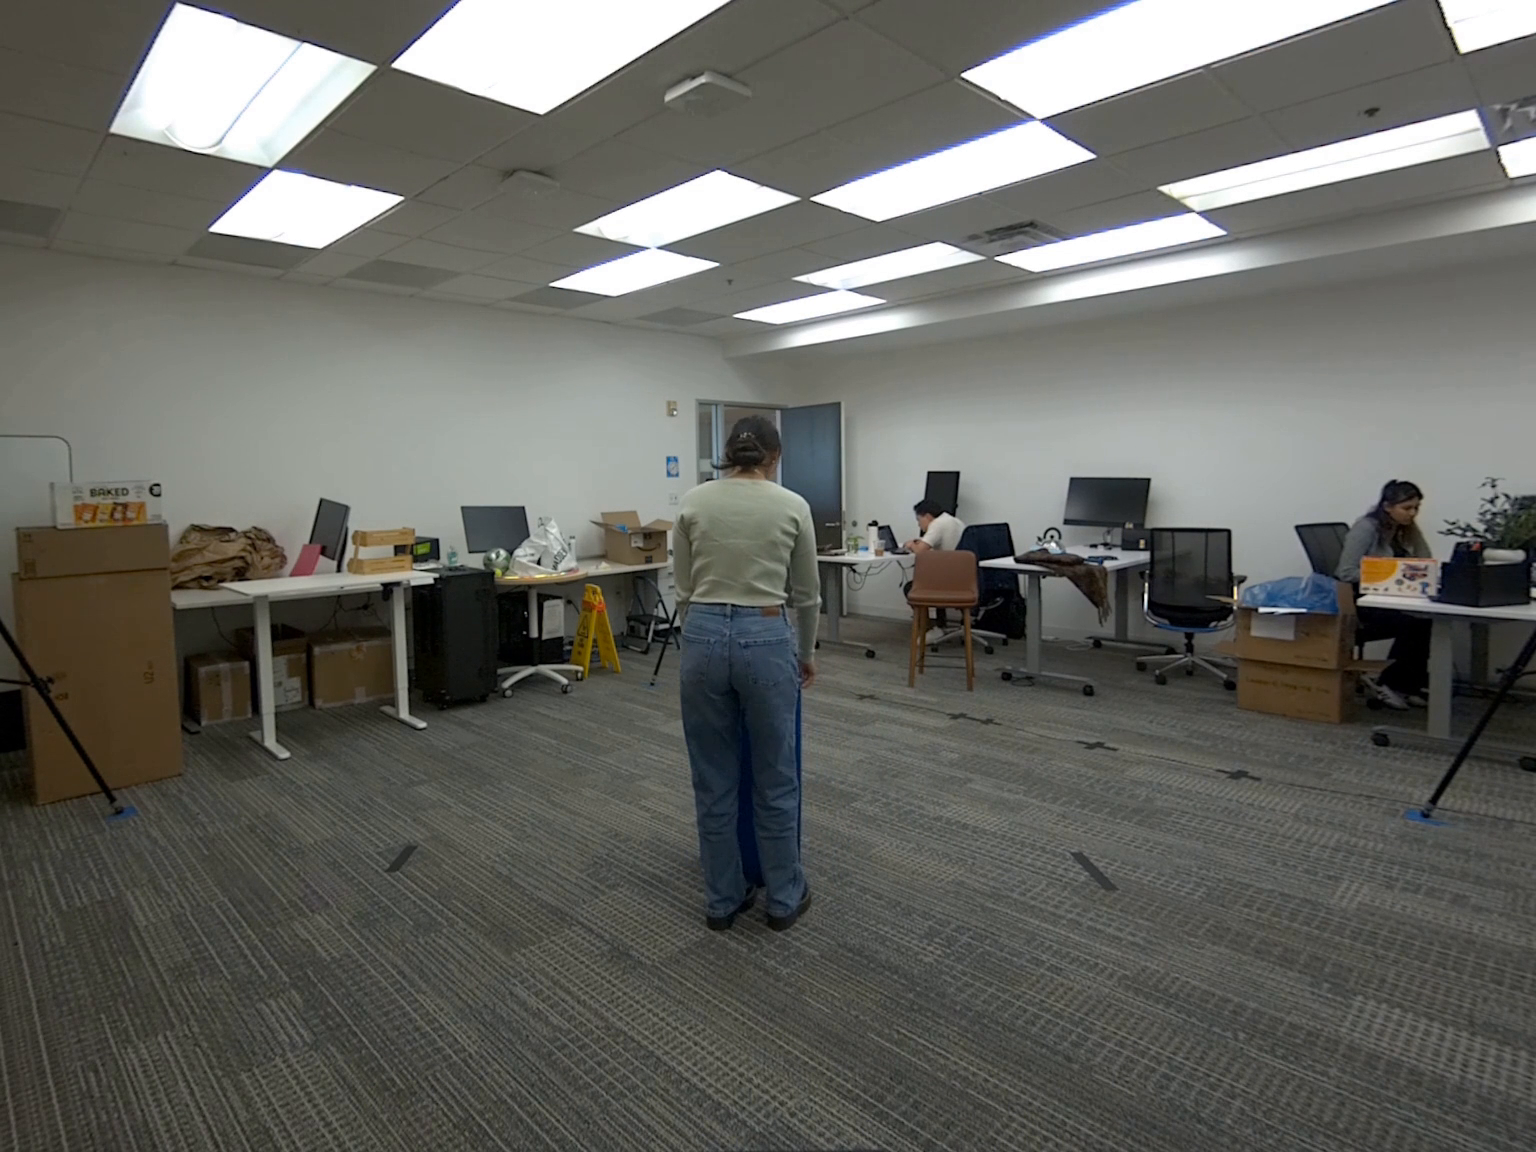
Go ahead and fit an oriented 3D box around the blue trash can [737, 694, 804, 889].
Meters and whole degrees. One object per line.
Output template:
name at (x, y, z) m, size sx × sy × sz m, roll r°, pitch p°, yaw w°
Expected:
blue trash can at (-0.075, 0.694, 3.038) m, size 0.369 × 0.711 × 0.384 m, roll -2°, pitch 4°, yaw -14°
